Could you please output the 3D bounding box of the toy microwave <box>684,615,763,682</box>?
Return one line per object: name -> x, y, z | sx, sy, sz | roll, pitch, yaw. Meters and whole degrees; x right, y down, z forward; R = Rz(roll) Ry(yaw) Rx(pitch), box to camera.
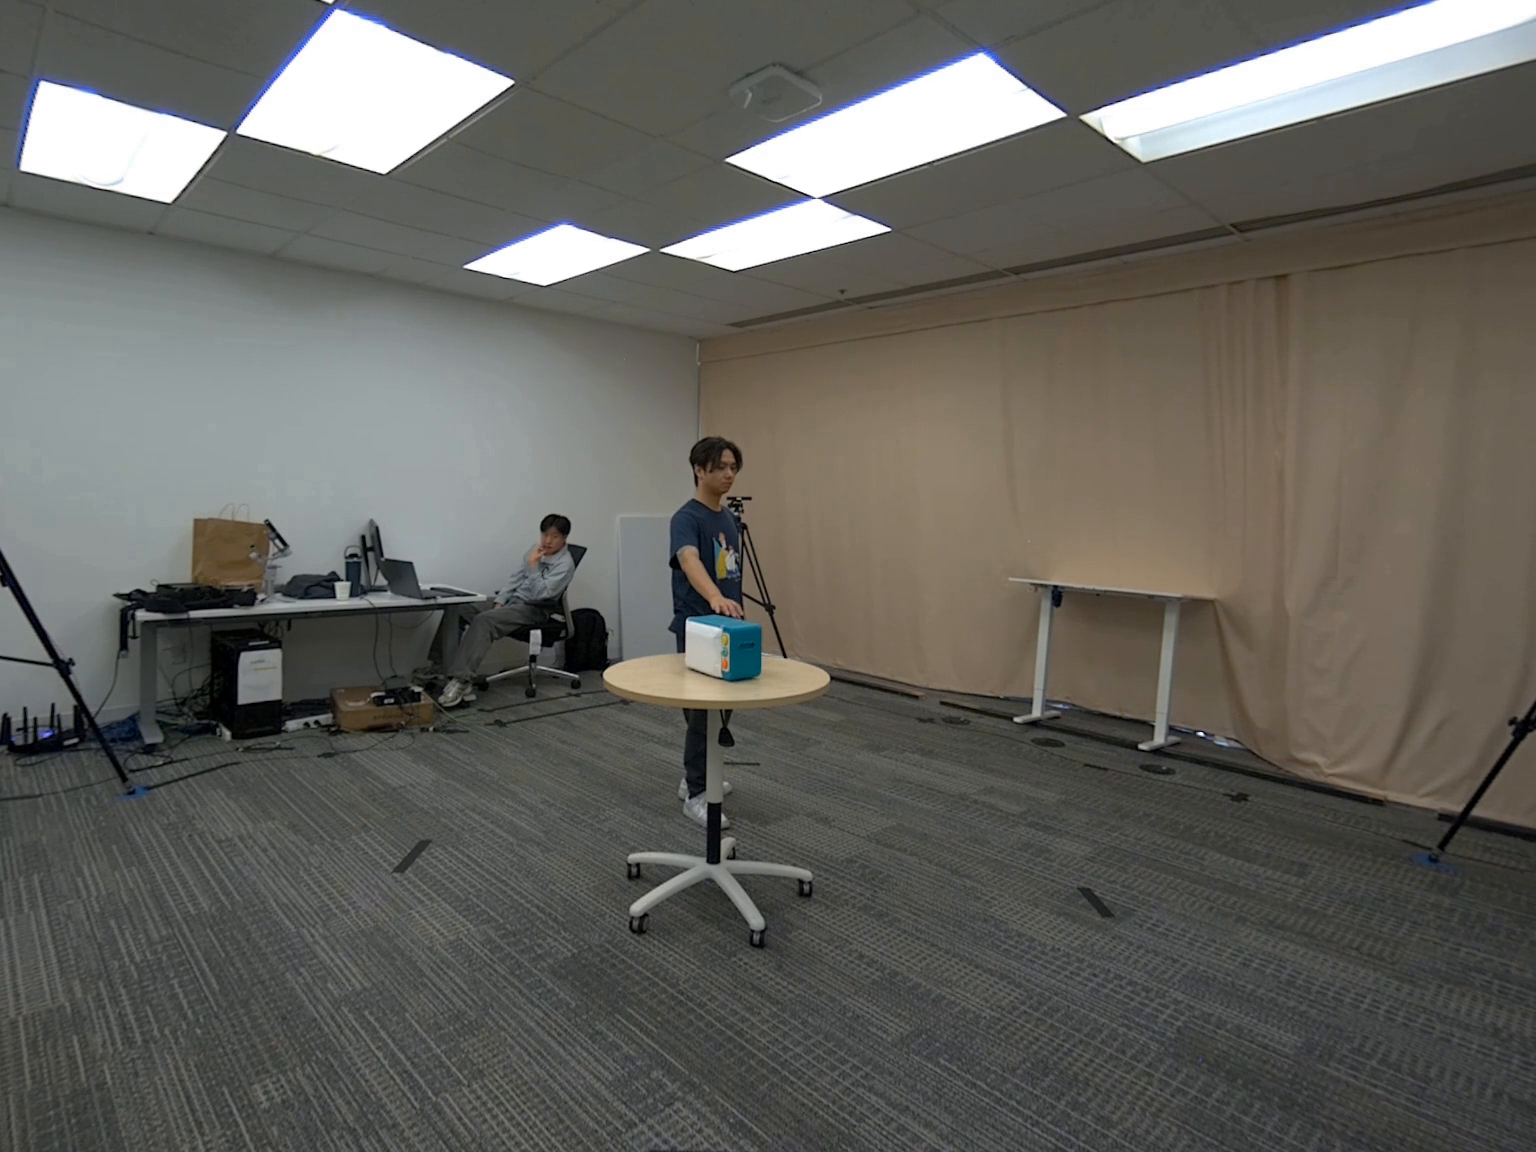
toy microwave -> -0.165, 0.245, 2.838 | 0.149, 0.183, 0.293 | -2, 5, -37
